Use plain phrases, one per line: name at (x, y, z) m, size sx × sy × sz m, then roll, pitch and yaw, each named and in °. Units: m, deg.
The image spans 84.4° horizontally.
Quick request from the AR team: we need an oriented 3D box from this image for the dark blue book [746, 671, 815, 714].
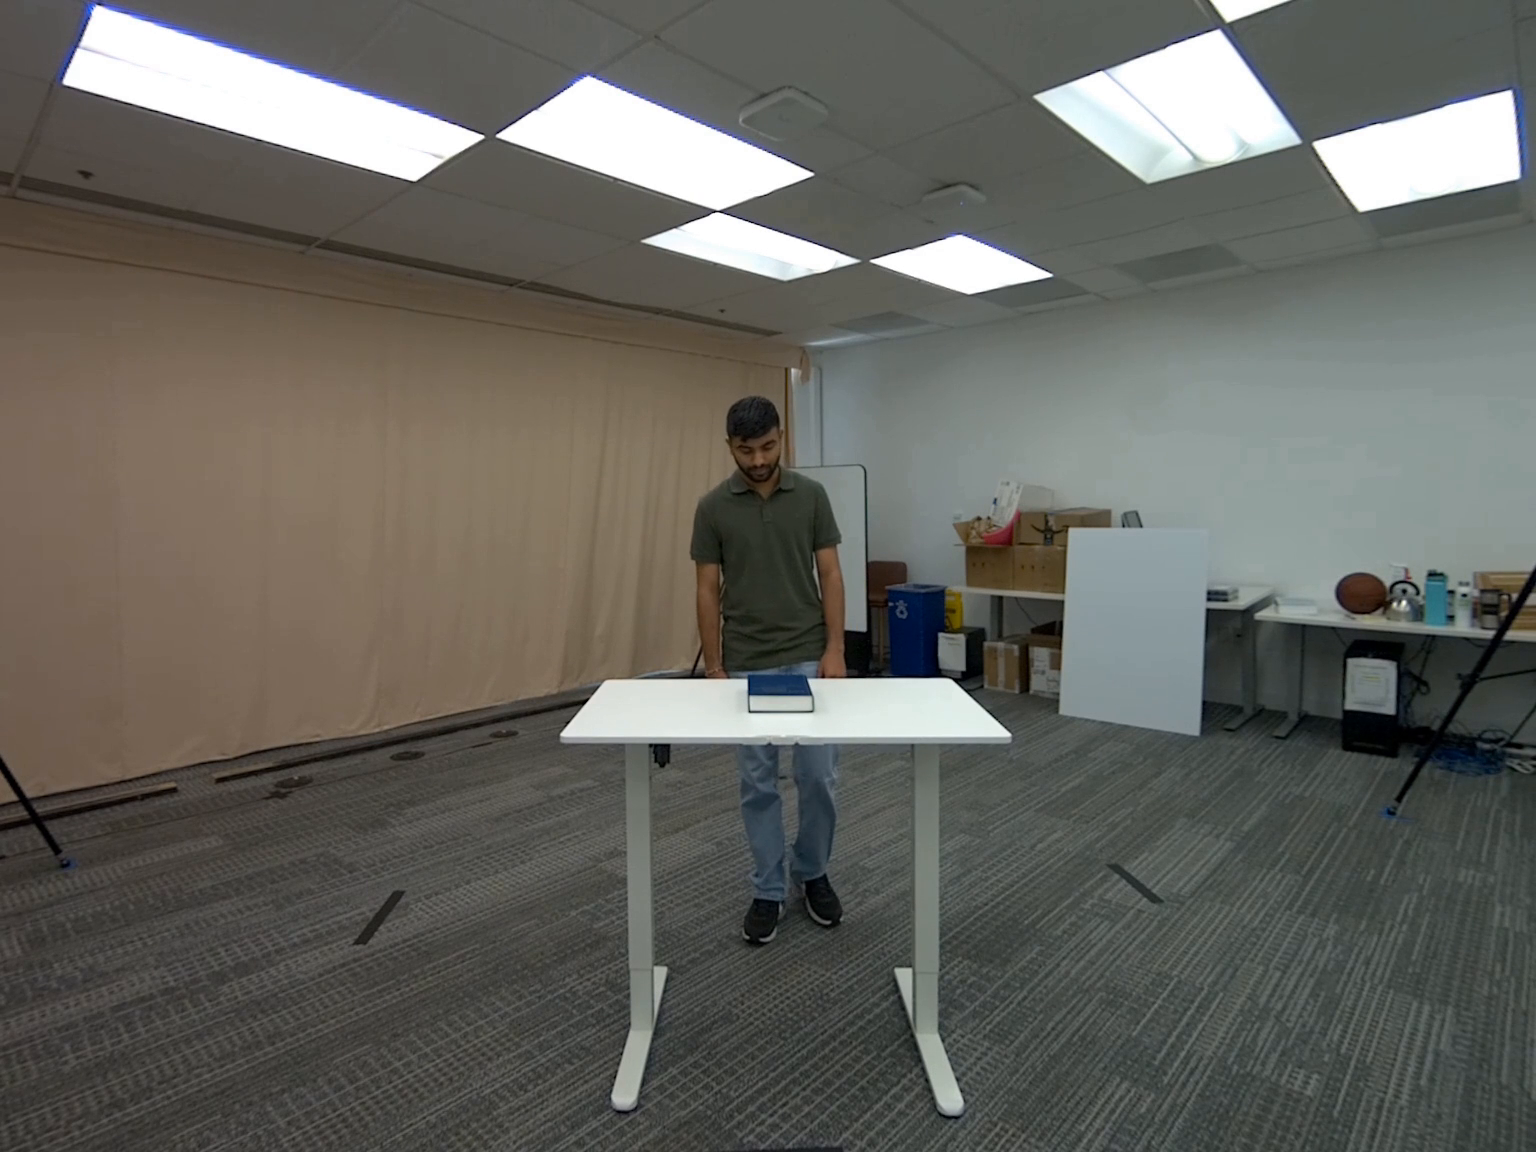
dark blue book at (0.039, 0.301, 2.188) m, size 0.163 × 0.045 × 0.246 m, roll -1°, pitch 6°, yaw -1°
